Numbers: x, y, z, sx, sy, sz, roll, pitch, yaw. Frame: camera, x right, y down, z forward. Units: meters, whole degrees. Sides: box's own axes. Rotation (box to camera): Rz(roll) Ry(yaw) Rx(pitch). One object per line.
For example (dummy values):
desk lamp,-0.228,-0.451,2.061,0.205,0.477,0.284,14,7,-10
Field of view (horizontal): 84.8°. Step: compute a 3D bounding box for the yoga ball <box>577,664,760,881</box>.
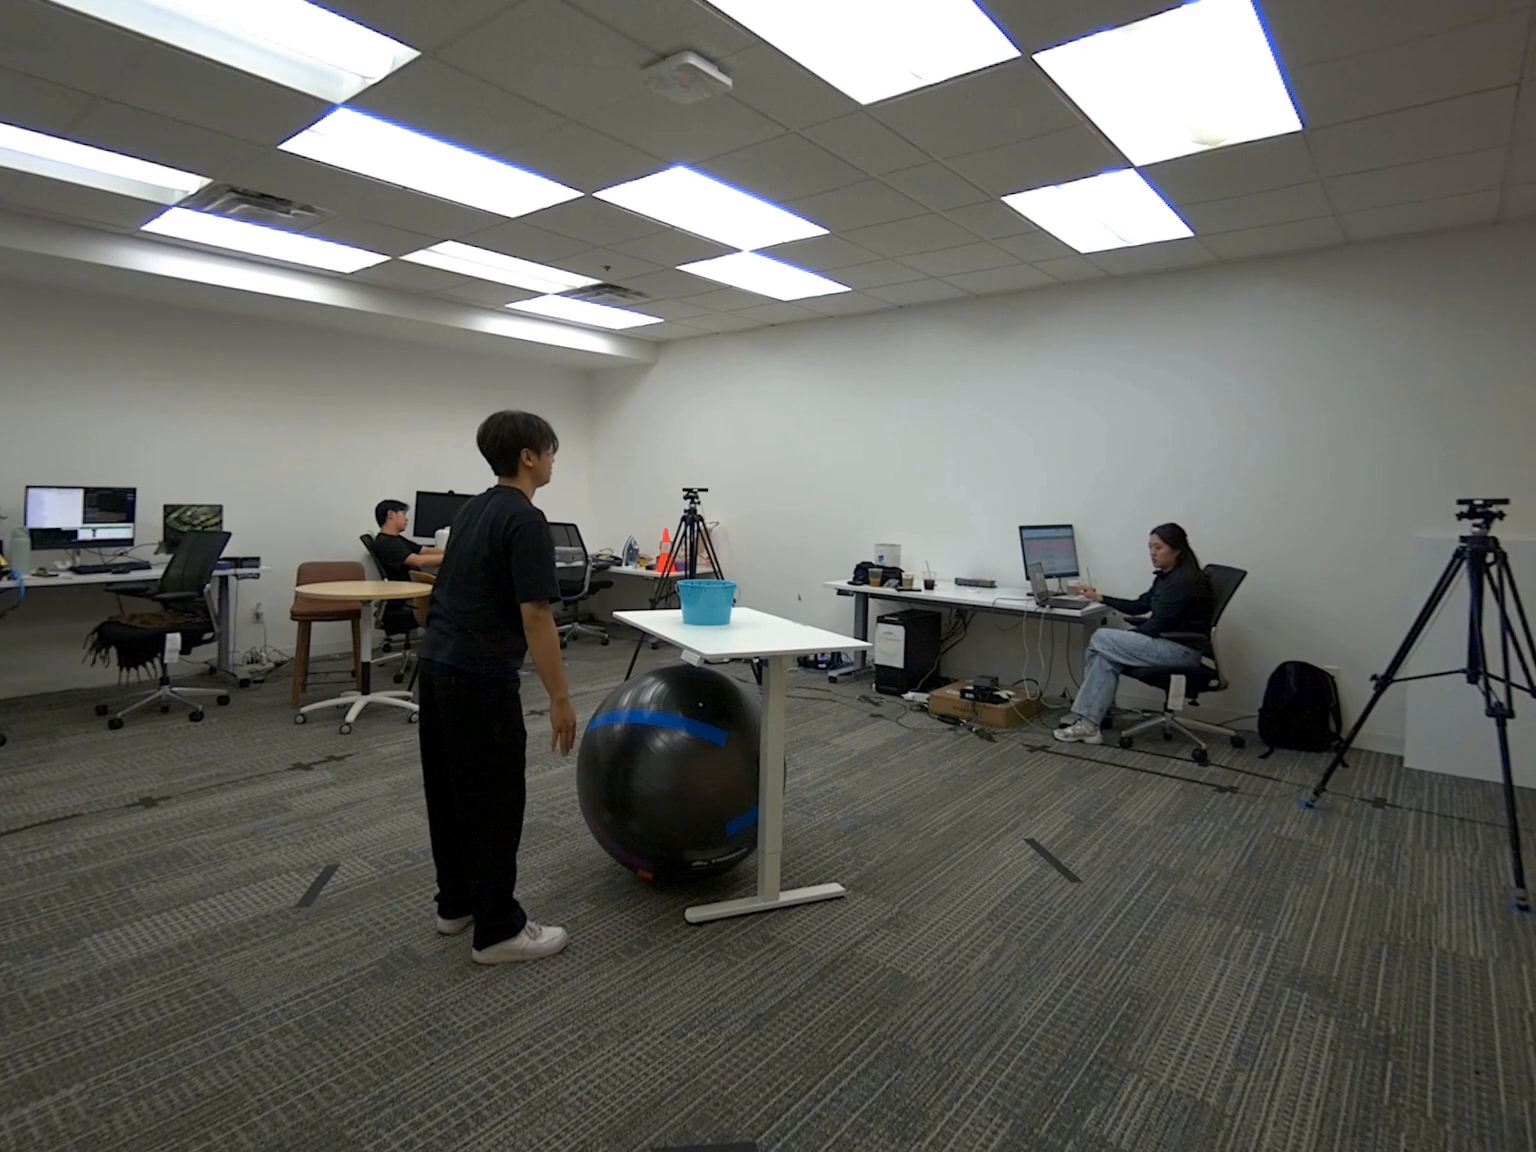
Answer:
yoga ball,-0.319,0.709,3.086,0.757,0.756,0.762,1,4,-2
